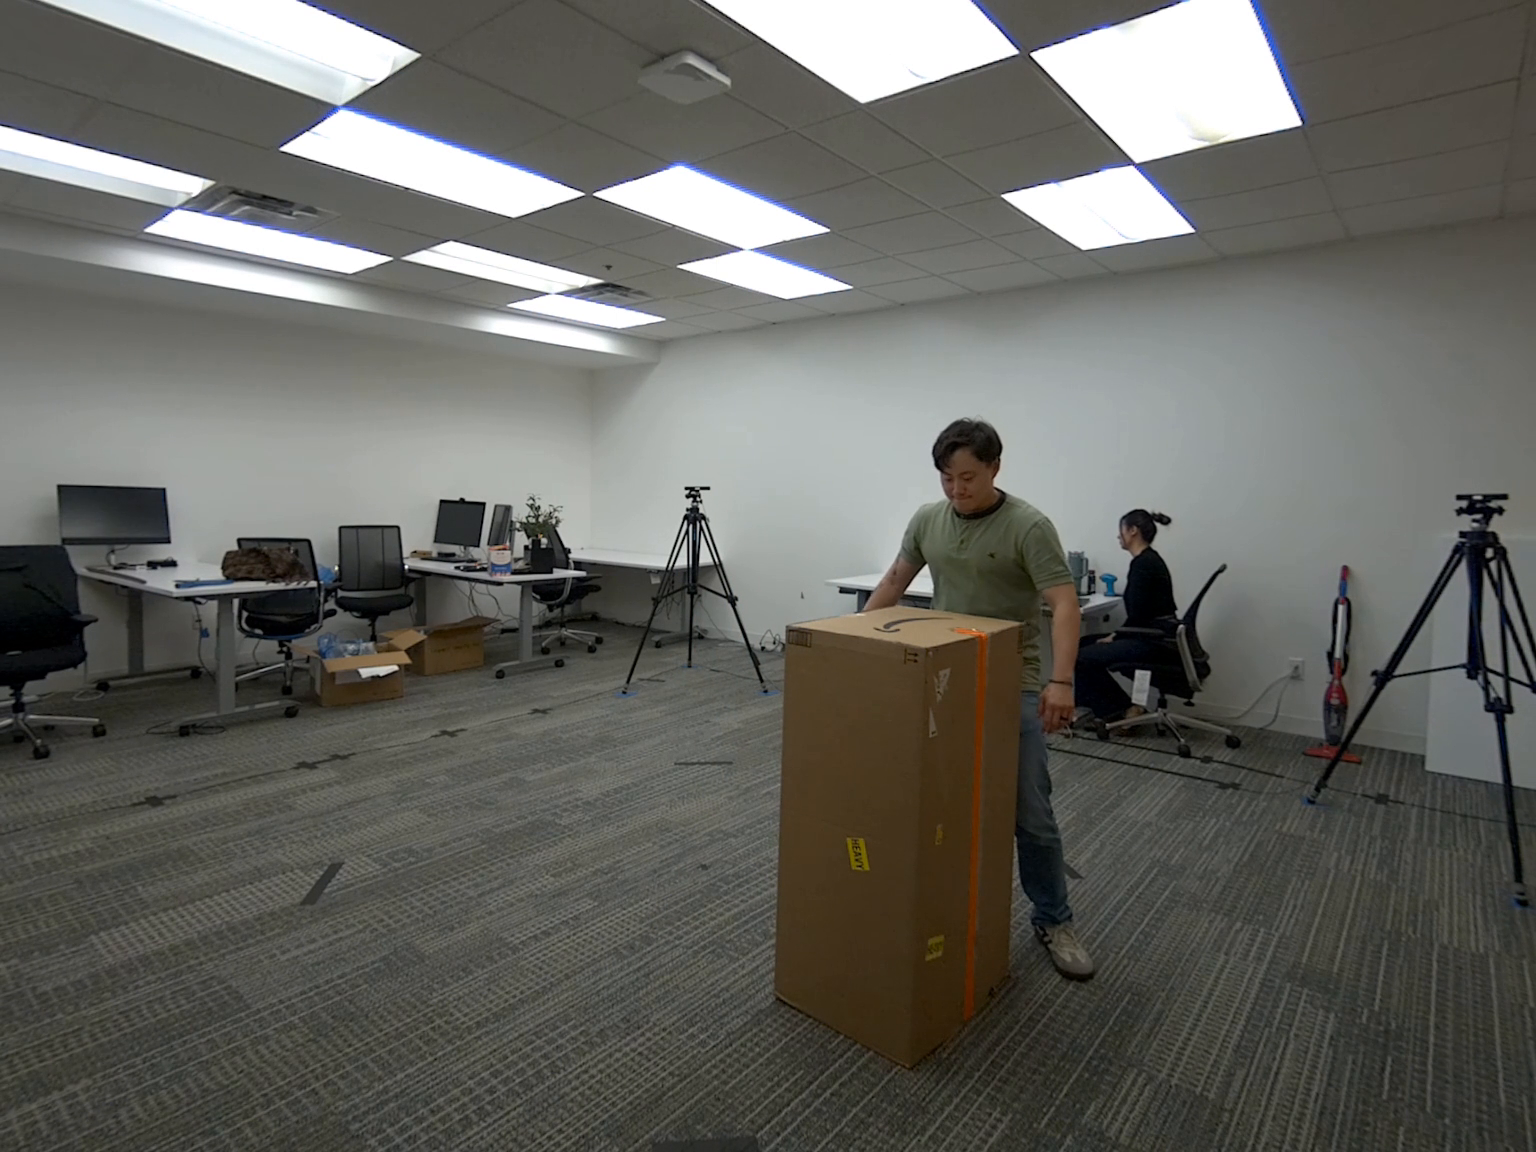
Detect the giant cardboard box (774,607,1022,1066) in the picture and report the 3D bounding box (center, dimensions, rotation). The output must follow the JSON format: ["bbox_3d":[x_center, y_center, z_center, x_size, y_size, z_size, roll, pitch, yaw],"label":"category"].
[{"bbox_3d":[0.368,0.637,2.362,0.441,1.023,0.560,4,5,41],"label":"giant cardboard box"}]
